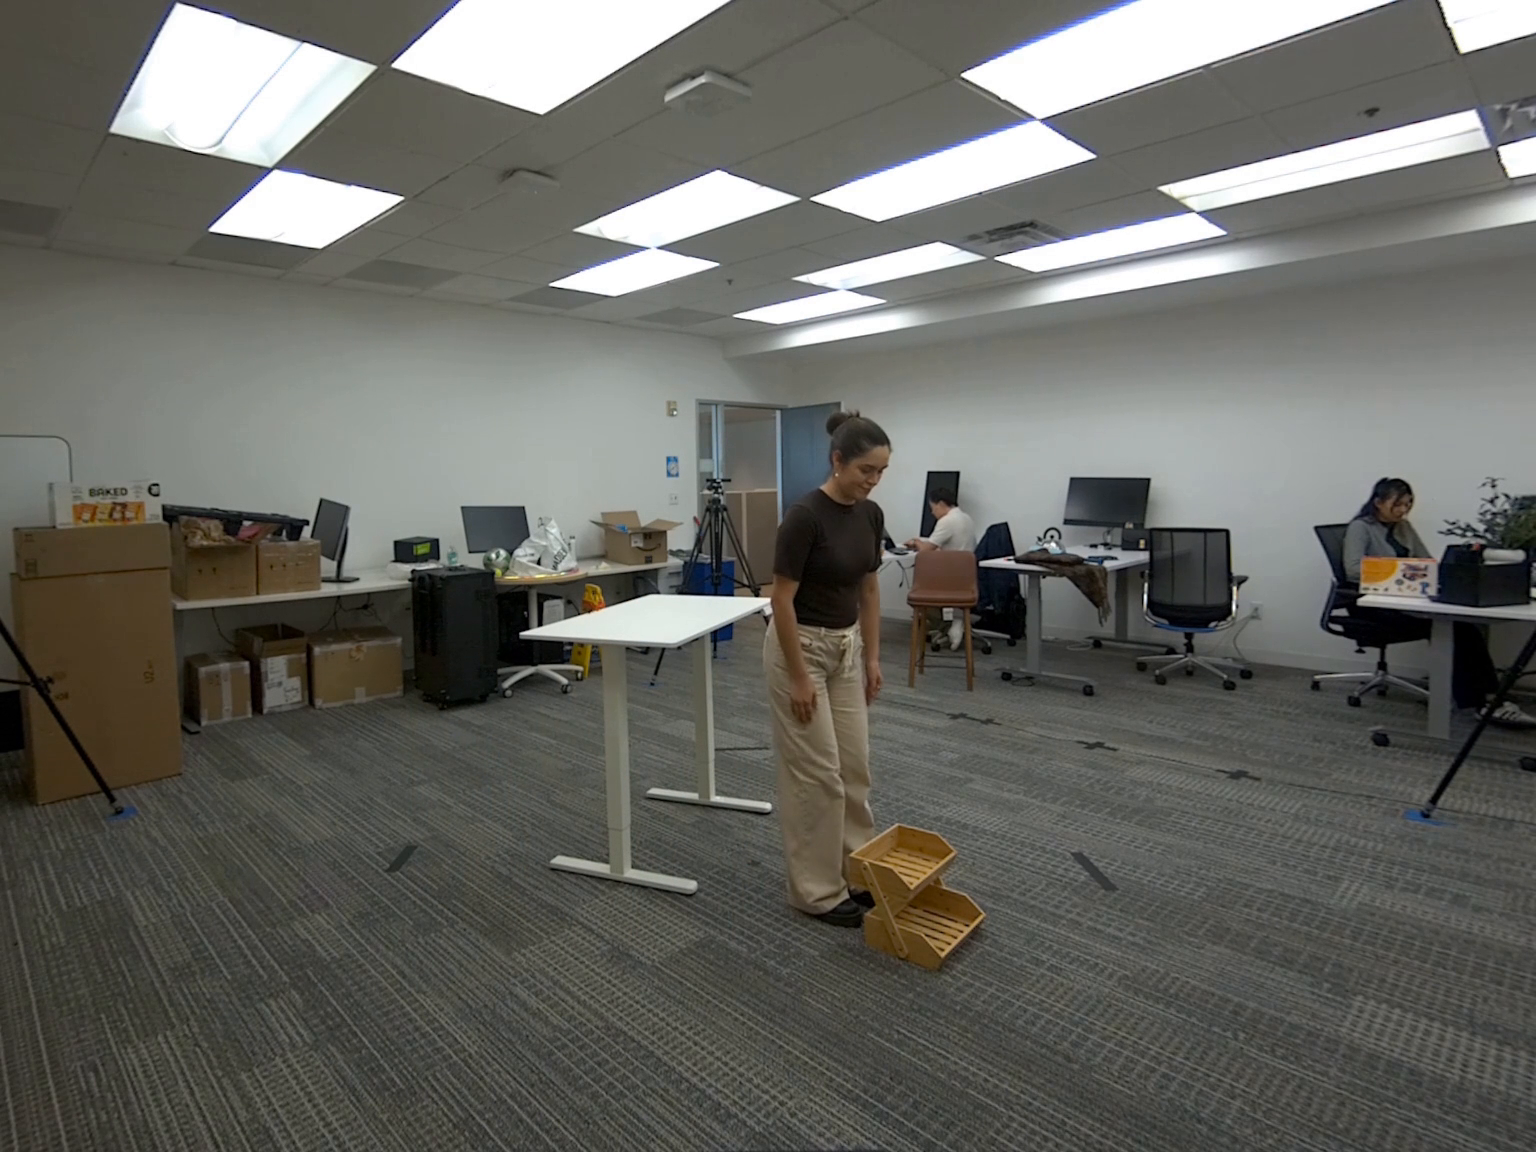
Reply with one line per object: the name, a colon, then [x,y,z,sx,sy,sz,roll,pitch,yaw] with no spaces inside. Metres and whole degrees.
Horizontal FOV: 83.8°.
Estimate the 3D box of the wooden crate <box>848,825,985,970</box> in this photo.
wooden crate: [0.463,0.963,2.594,0.311,0.272,0.316,2,6,39]
